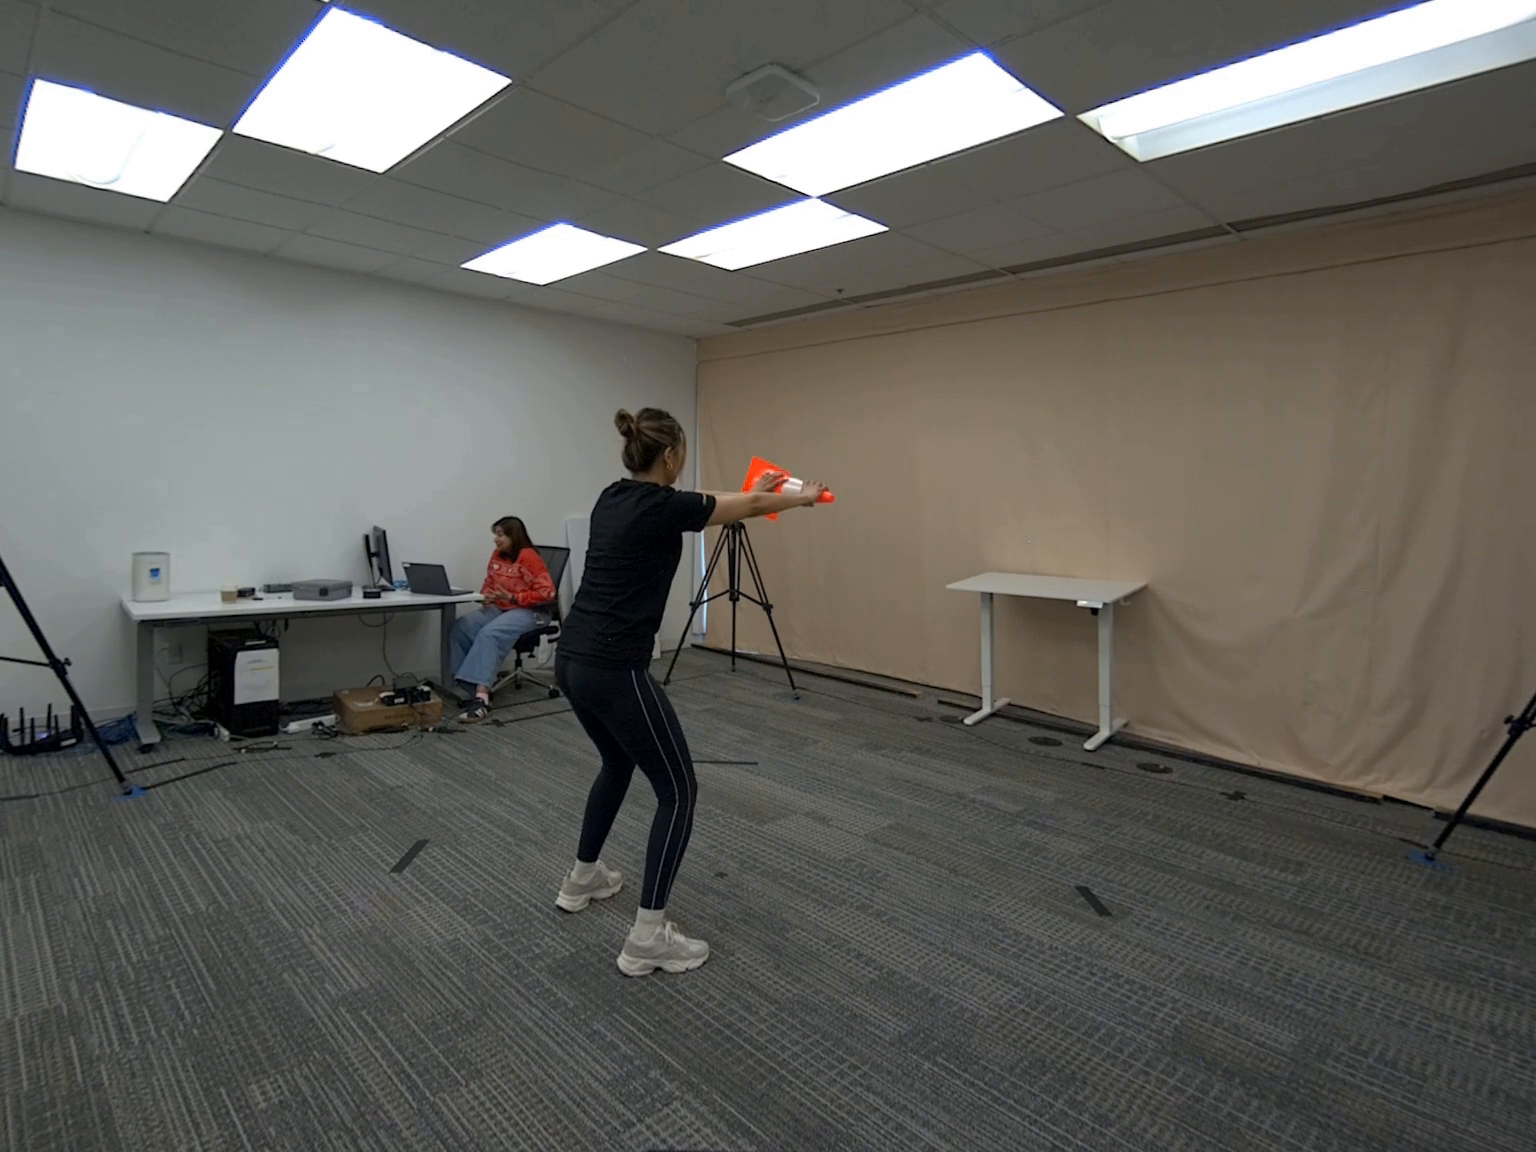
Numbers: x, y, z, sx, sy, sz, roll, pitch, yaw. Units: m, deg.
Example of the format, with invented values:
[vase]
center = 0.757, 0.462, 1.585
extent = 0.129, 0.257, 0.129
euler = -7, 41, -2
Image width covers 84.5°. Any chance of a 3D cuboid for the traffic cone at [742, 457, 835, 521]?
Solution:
[traffic cone]
center = 0.087, -0.294, 3.061
extent = 0.197, 0.205, 0.394
euler = 21, -3, -36
